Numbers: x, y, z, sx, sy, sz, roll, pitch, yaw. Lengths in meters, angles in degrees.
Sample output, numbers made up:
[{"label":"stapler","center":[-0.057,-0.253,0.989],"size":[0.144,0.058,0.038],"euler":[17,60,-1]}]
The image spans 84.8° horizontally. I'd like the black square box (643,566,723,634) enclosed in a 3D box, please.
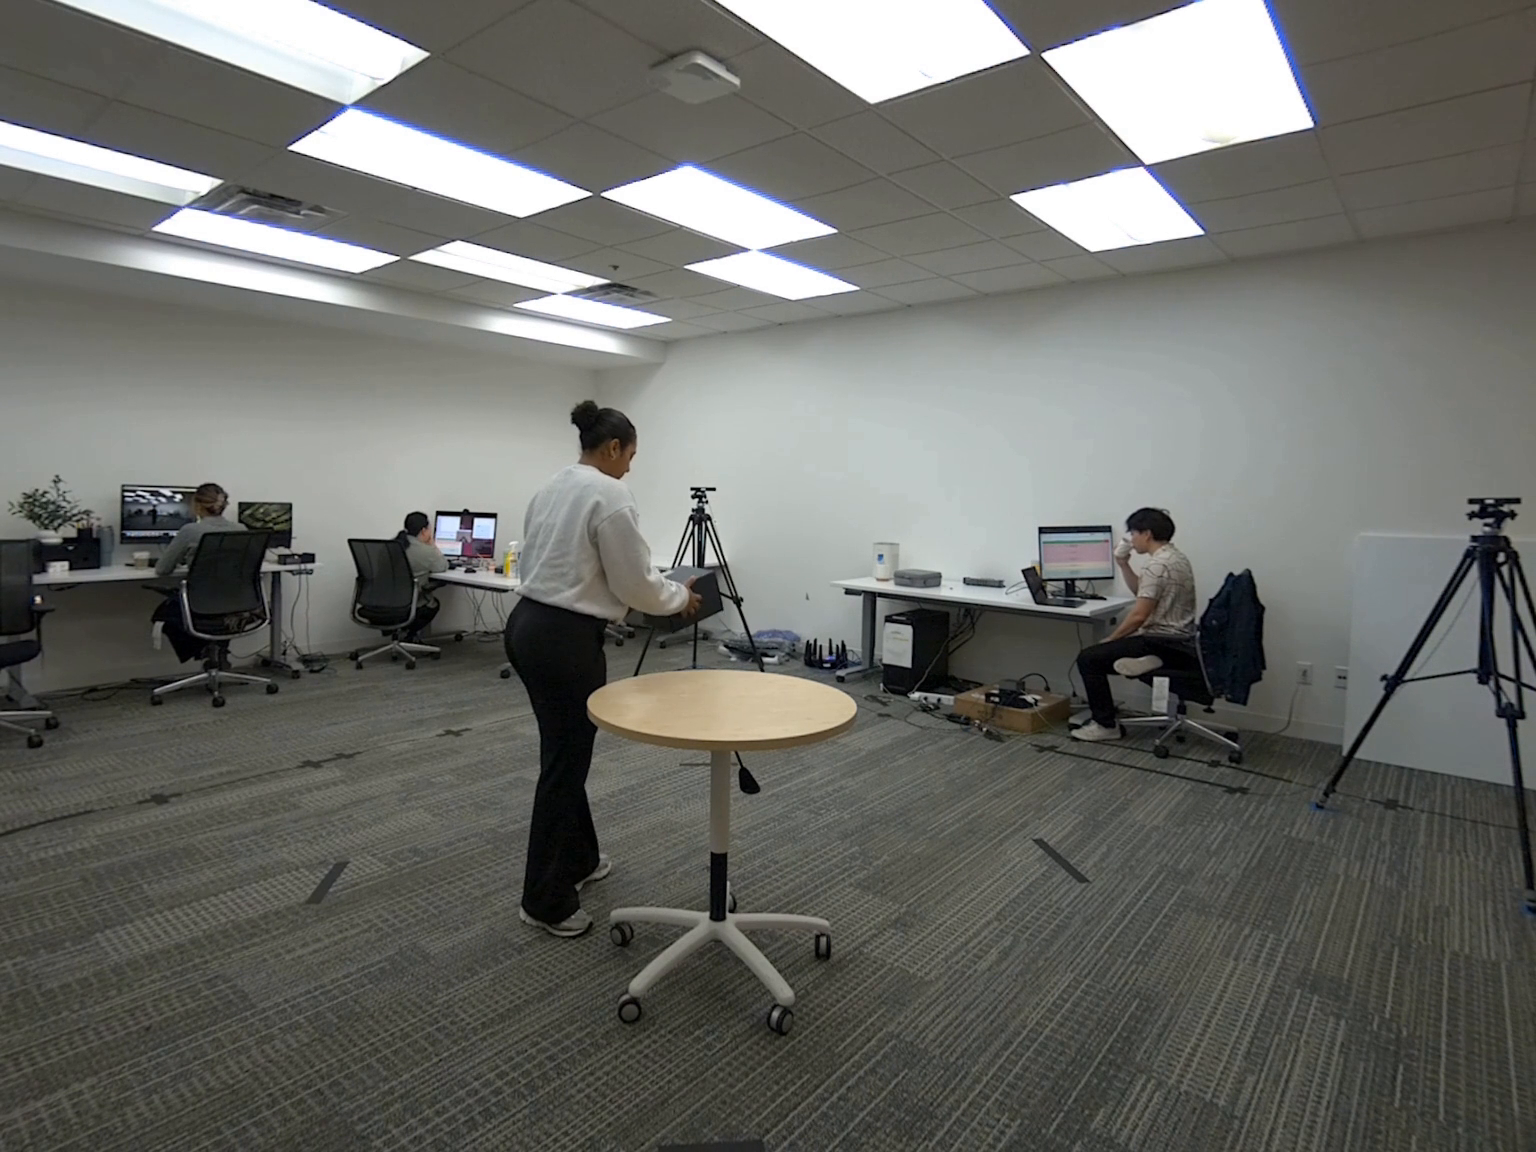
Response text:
[{"label":"black square box","center":[-0.326,0.084,3.099],"size":[0.223,0.153,0.224],"euler":[-20,17,-34]}]
